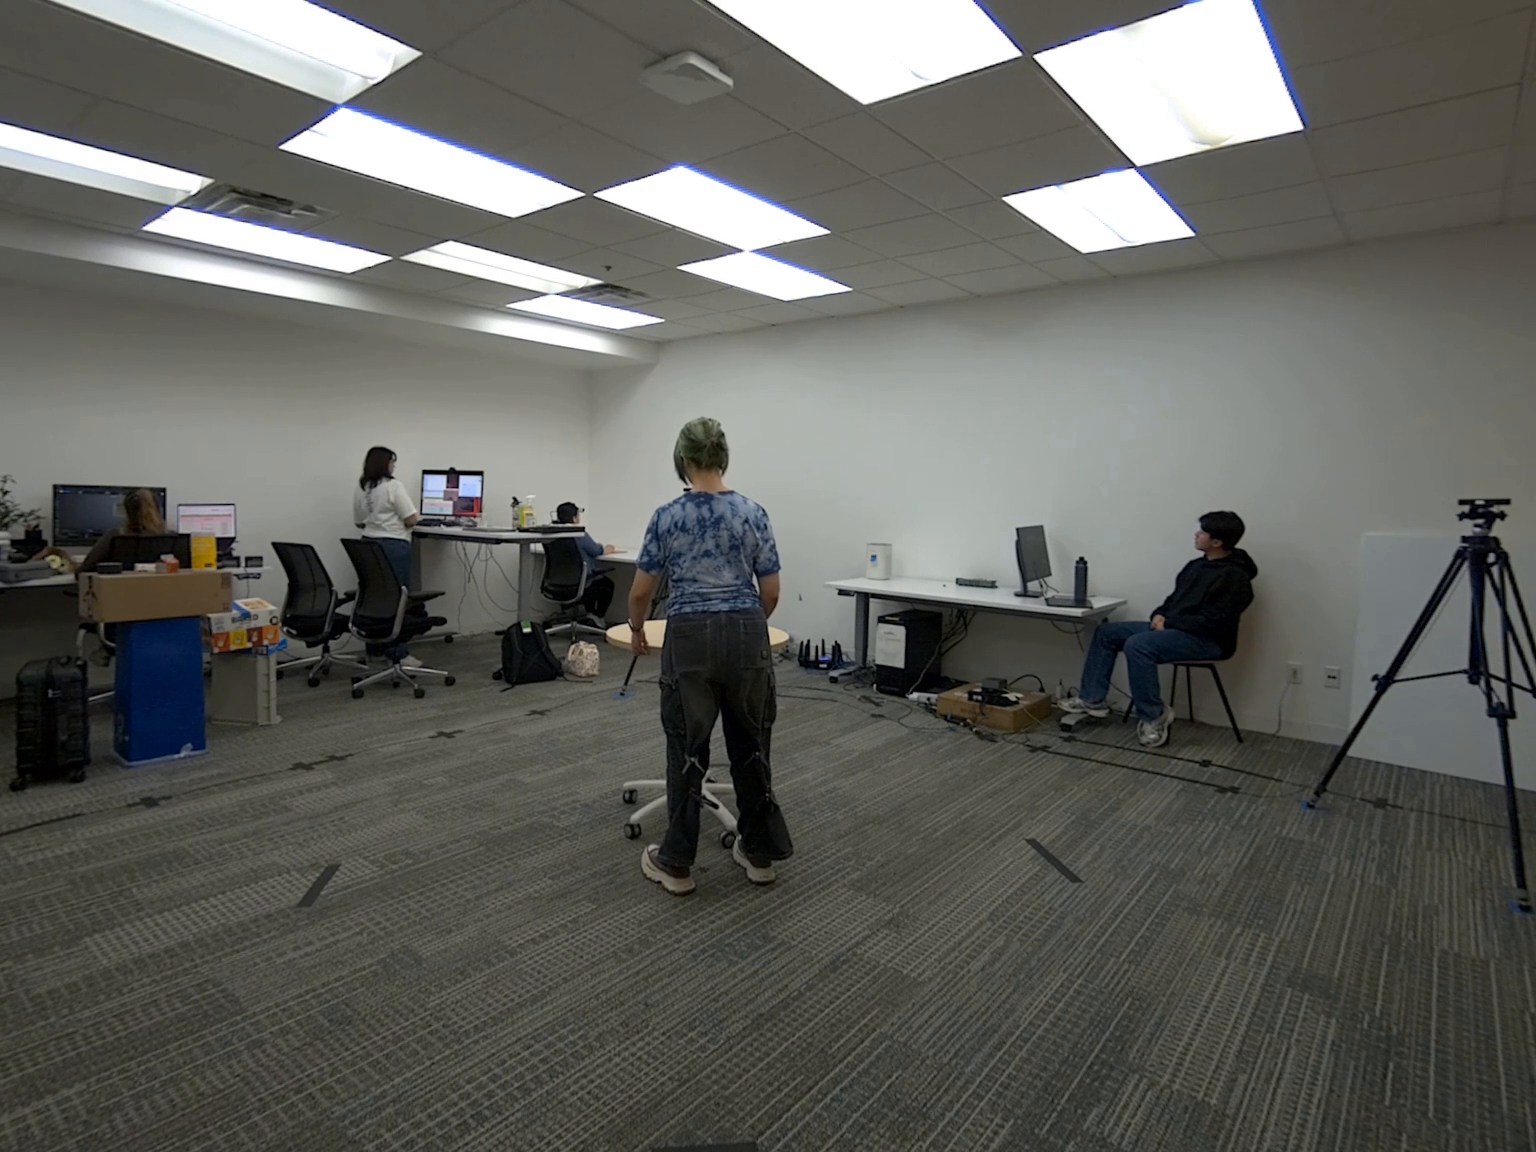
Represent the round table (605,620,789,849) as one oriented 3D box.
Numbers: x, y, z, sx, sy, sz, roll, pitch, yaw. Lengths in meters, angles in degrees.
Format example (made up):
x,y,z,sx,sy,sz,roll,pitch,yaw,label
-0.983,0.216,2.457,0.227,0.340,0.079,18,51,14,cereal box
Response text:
x,y,z,sx,sy,sz,roll,pitch,yaw,label
-0.324,0.629,3.597,0.763,0.791,0.768,1,4,-2,round table
